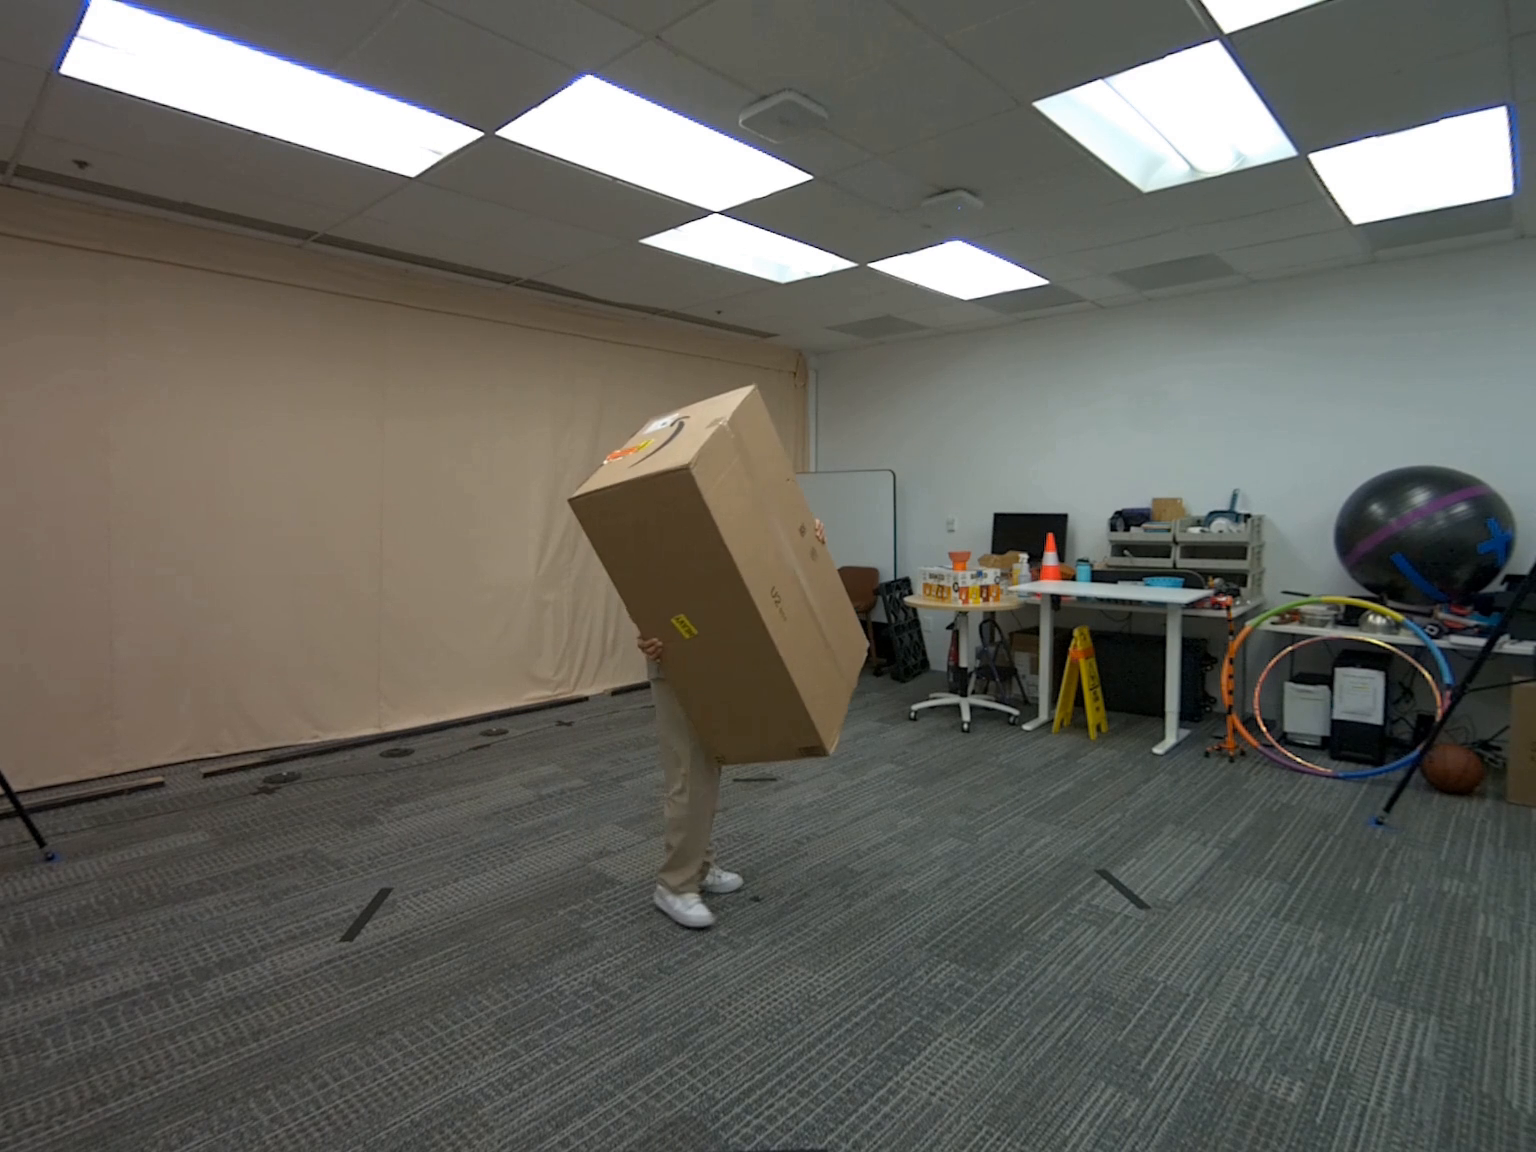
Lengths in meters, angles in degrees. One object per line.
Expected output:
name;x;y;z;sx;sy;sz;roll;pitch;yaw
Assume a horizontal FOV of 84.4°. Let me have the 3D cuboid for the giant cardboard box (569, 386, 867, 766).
giant cardboard box;-0.102;0.016;2.677;0.436;1.004;0.576;-12;25;28
